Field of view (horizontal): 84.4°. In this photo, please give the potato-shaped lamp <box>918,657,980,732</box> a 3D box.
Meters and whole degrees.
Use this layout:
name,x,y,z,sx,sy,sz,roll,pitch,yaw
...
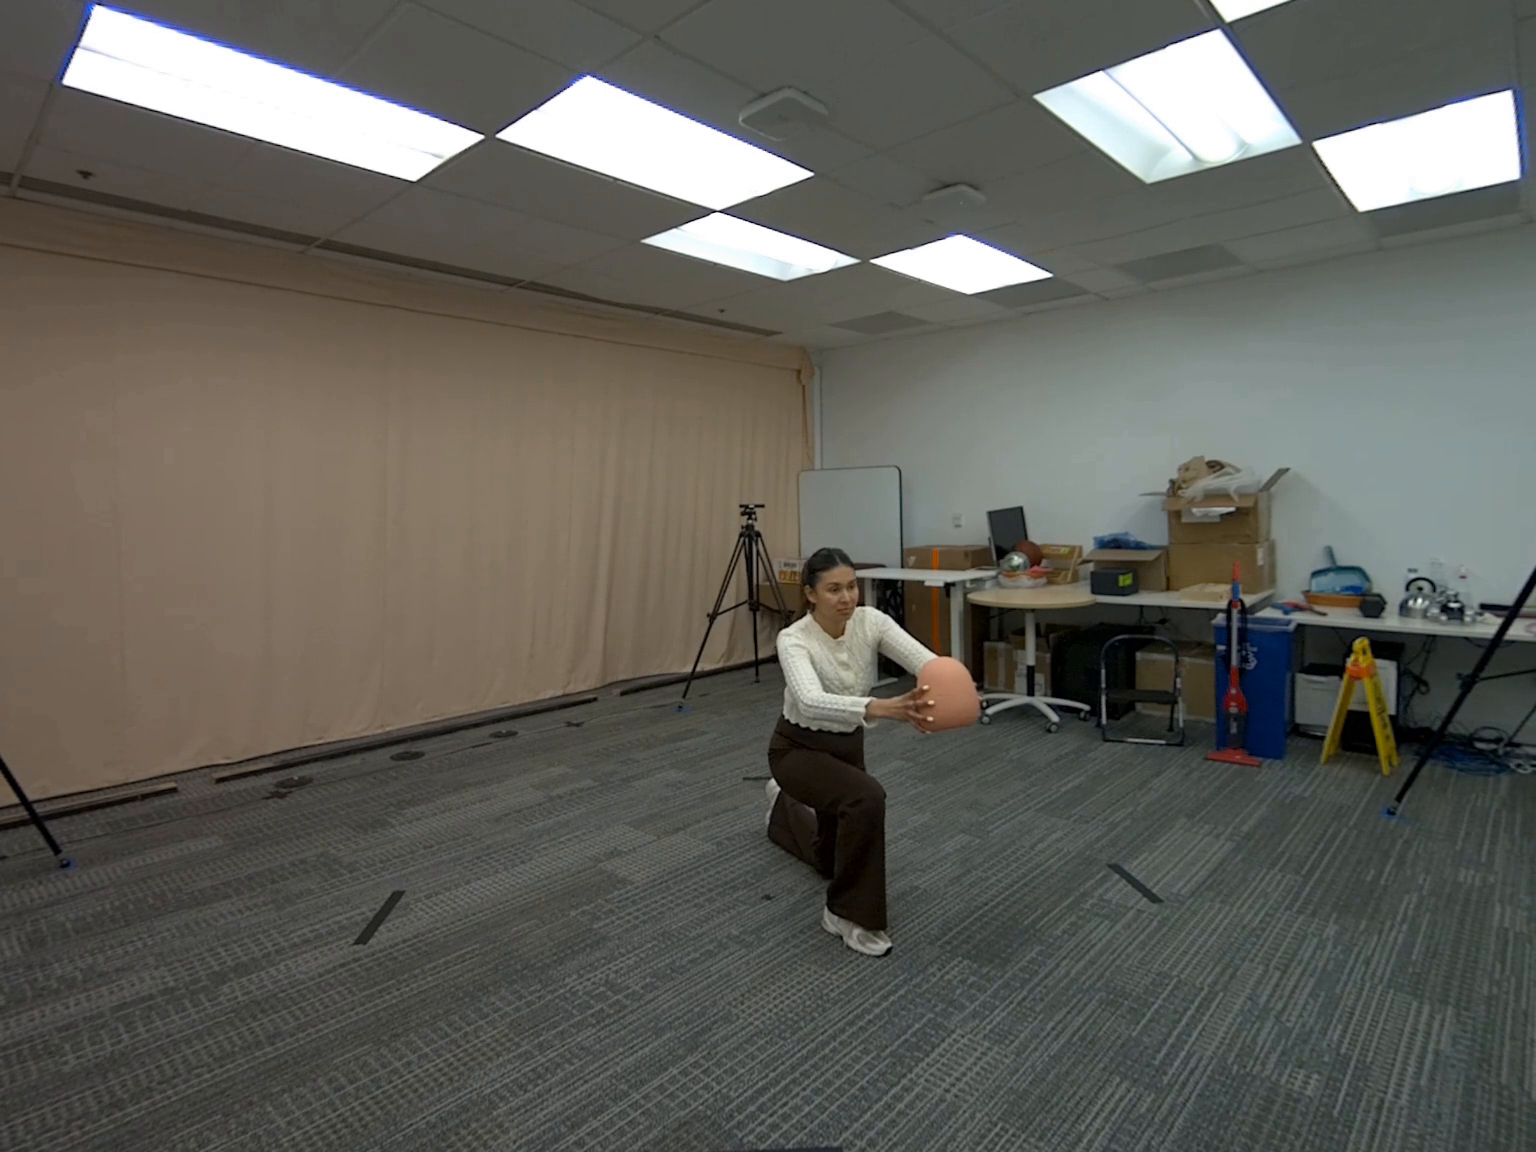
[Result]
name,x,y,z,sx,sy,sz,roll,pitch,yaw
potato-shaped lamp,0.486,0.311,2.290,0.163,0.200,0.170,-4,-18,-7
